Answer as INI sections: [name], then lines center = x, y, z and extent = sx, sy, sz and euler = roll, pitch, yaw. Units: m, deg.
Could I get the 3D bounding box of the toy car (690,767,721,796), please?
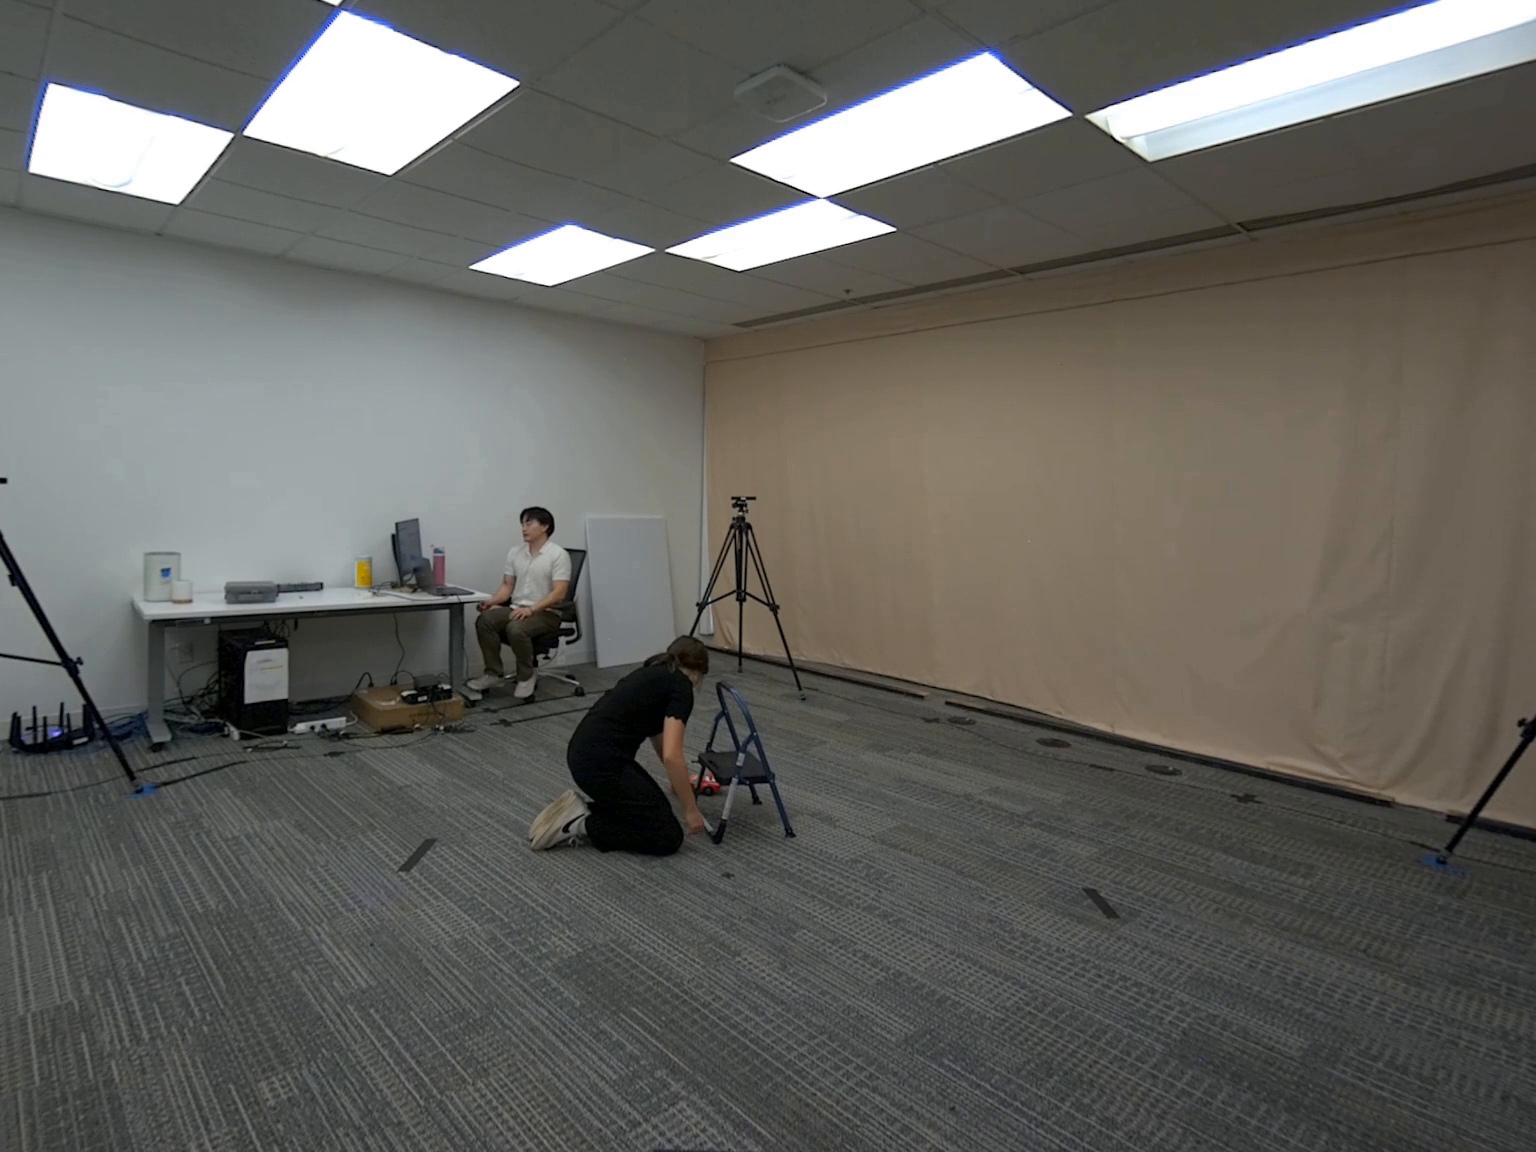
[toy car]
center = -0.345, 0.992, 3.988
extent = 0.254, 0.083, 0.131
euler = -9, 3, -4
